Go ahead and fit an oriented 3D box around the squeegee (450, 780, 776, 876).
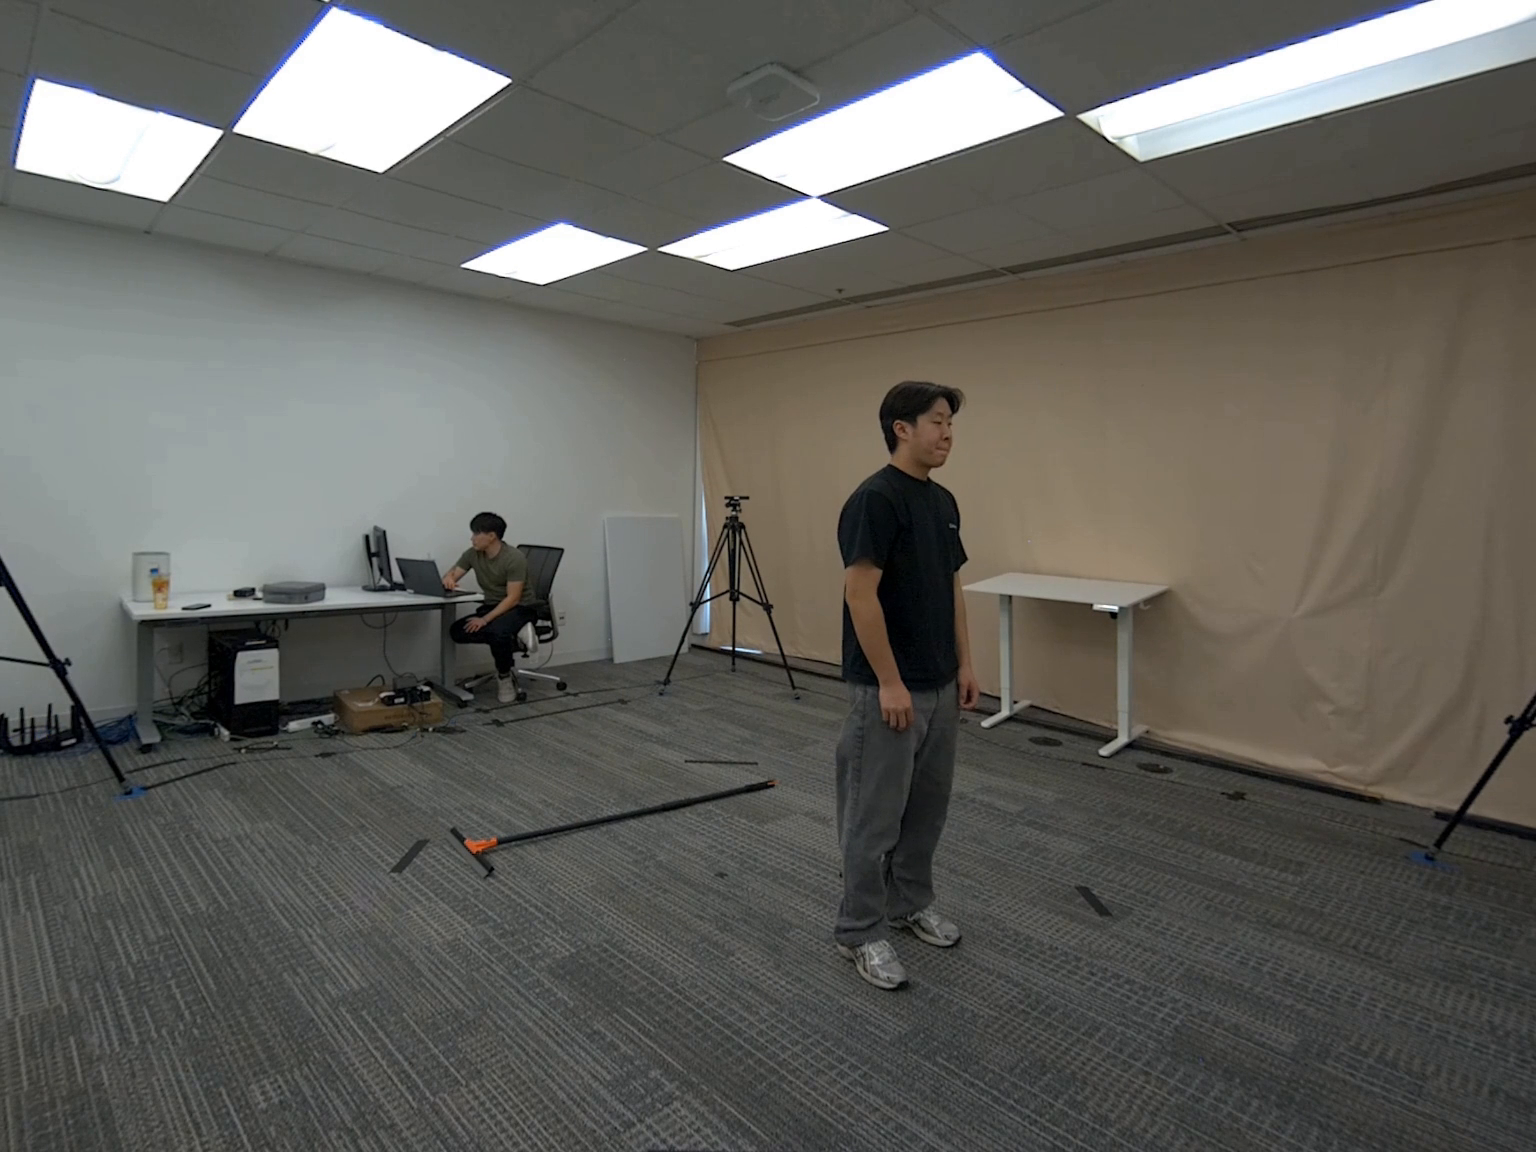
[{"bbox_3d":[-0.566,1.005,3.651,1.503,0.053,0.448,-2,6,-38],"label":"squeegee"}]
